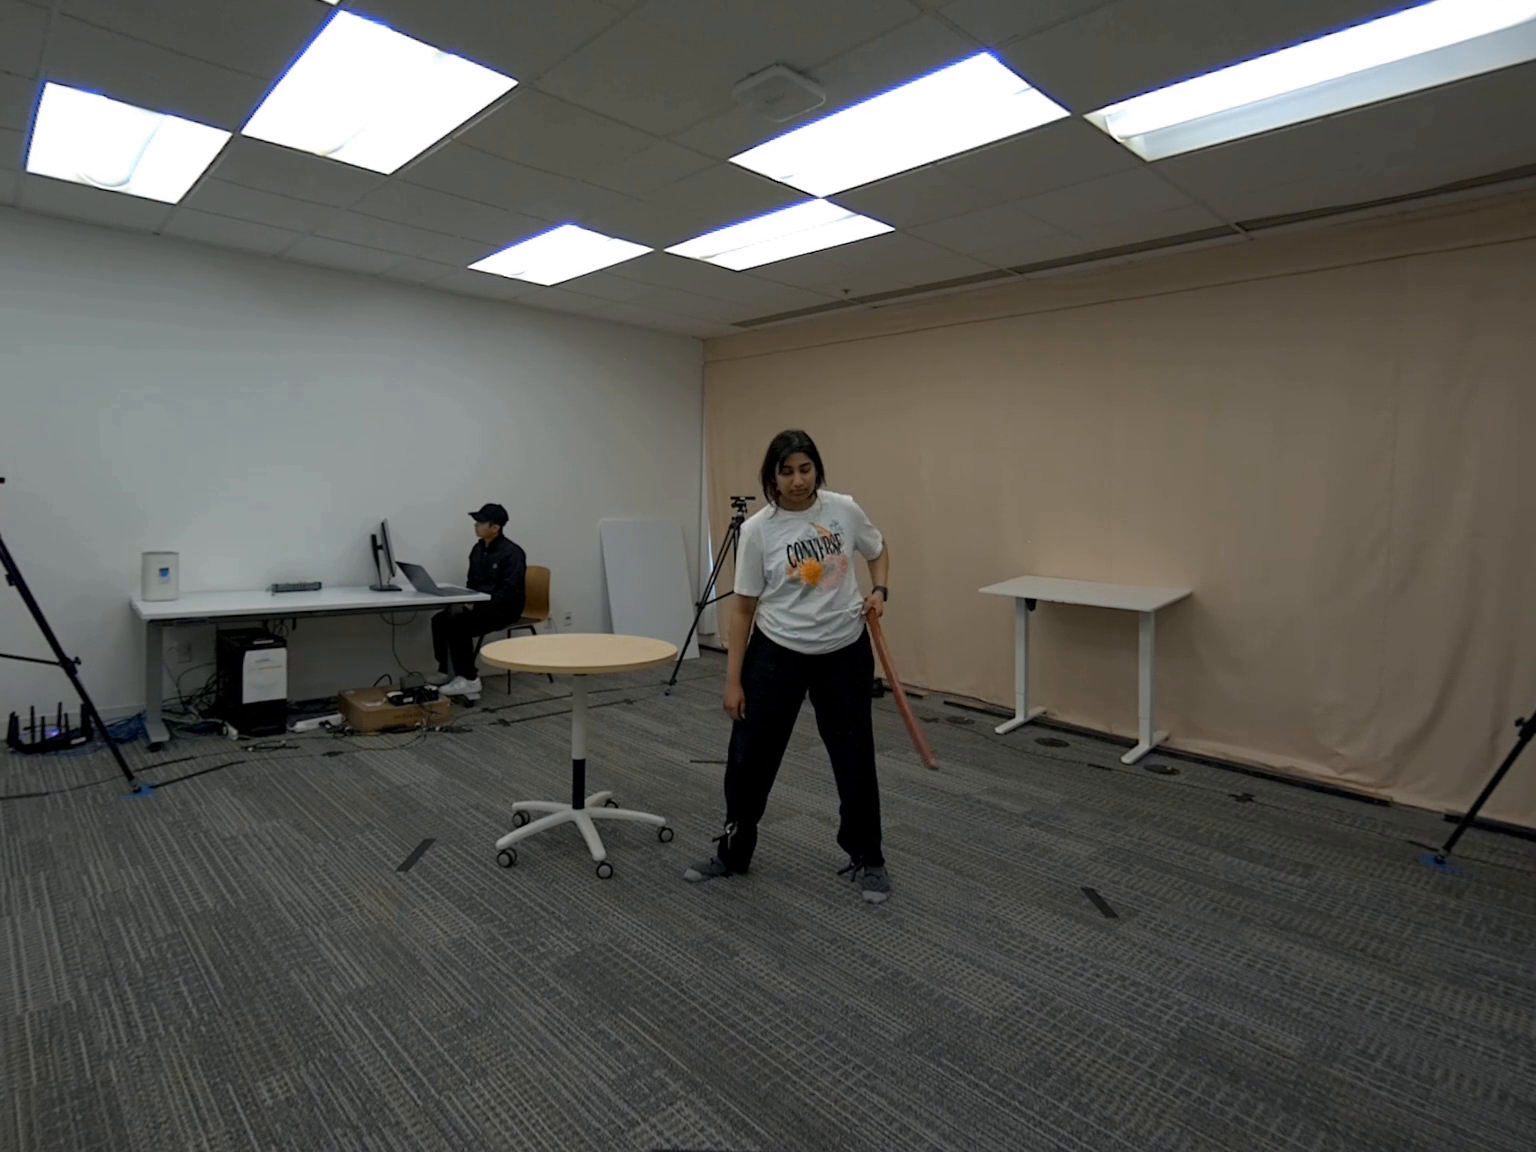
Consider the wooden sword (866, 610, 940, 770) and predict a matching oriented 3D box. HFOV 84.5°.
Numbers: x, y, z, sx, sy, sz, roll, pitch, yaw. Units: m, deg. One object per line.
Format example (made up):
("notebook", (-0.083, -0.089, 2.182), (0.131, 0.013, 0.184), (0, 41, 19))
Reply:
("wooden sword", (0.373, 0.319, 2.539), (0.051, 0.024, 1.040), (29, 17, -13))
